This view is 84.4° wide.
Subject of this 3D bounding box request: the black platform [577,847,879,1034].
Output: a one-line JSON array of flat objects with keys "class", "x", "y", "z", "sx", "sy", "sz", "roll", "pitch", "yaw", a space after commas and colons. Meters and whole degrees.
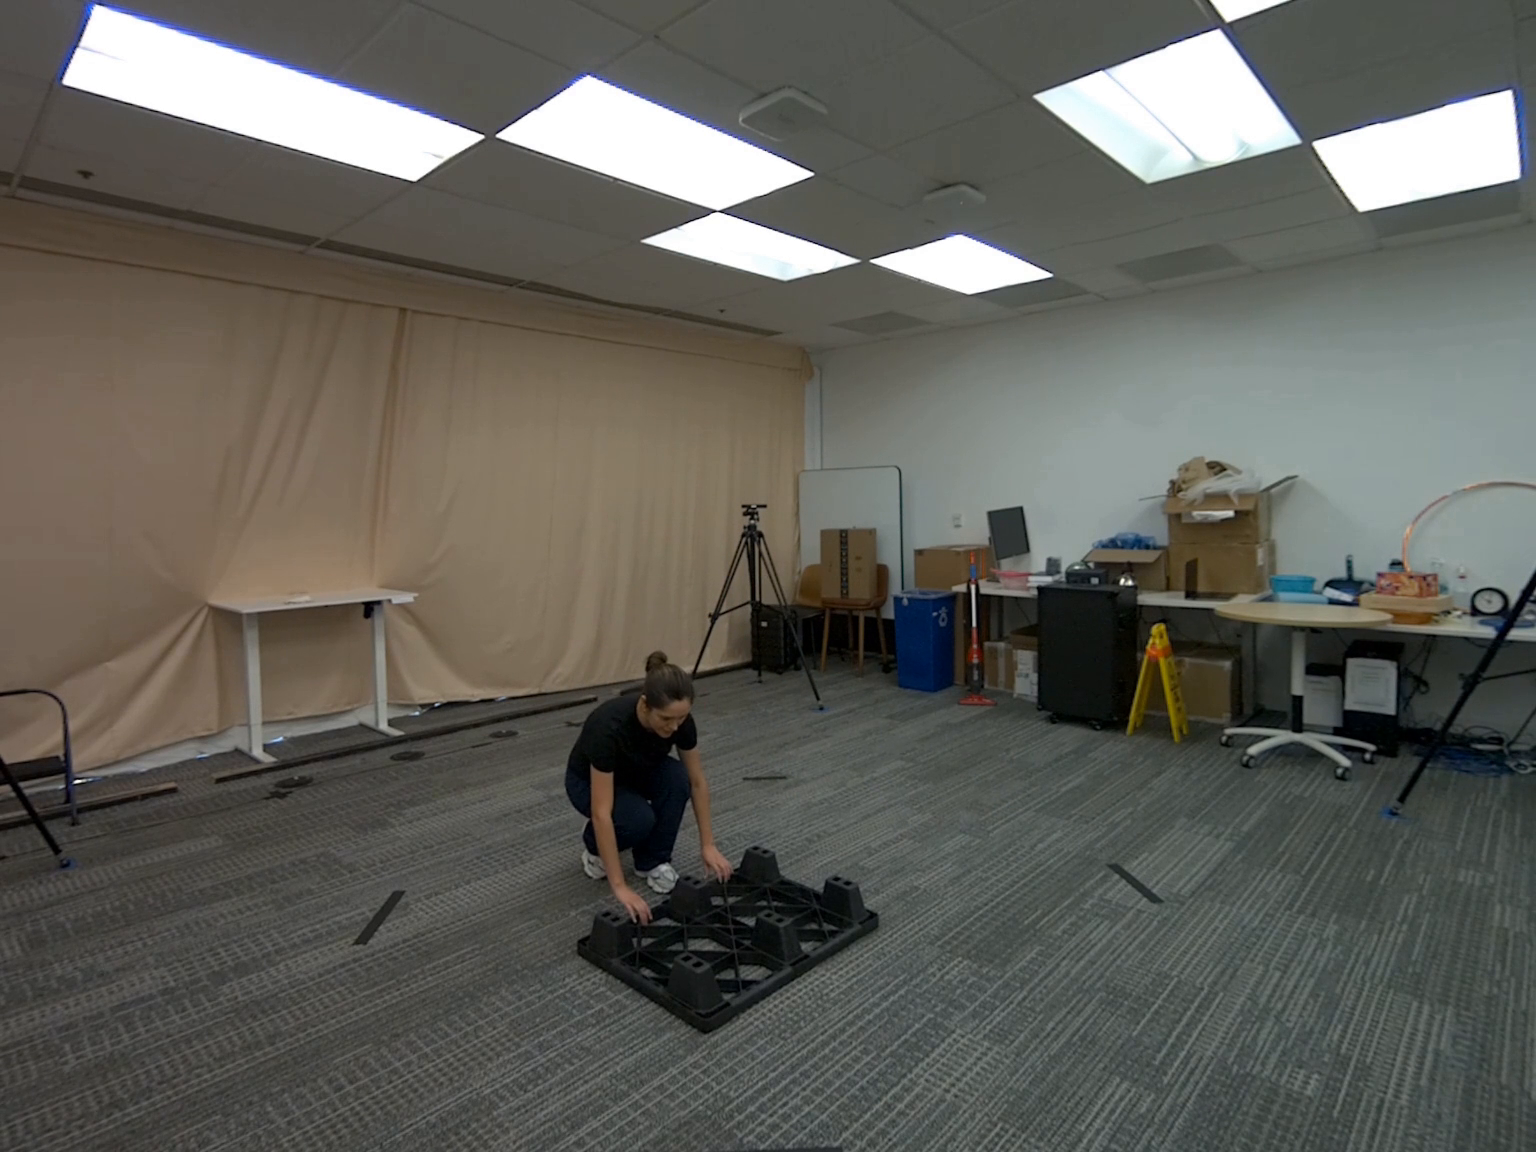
[{"class": "black platform", "x": -0.097, "y": 1.103, "z": 2.693, "sx": 0.625, "sy": 0.143, "sz": 0.781, "roll": 3, "pitch": 7, "yaw": 43}]
